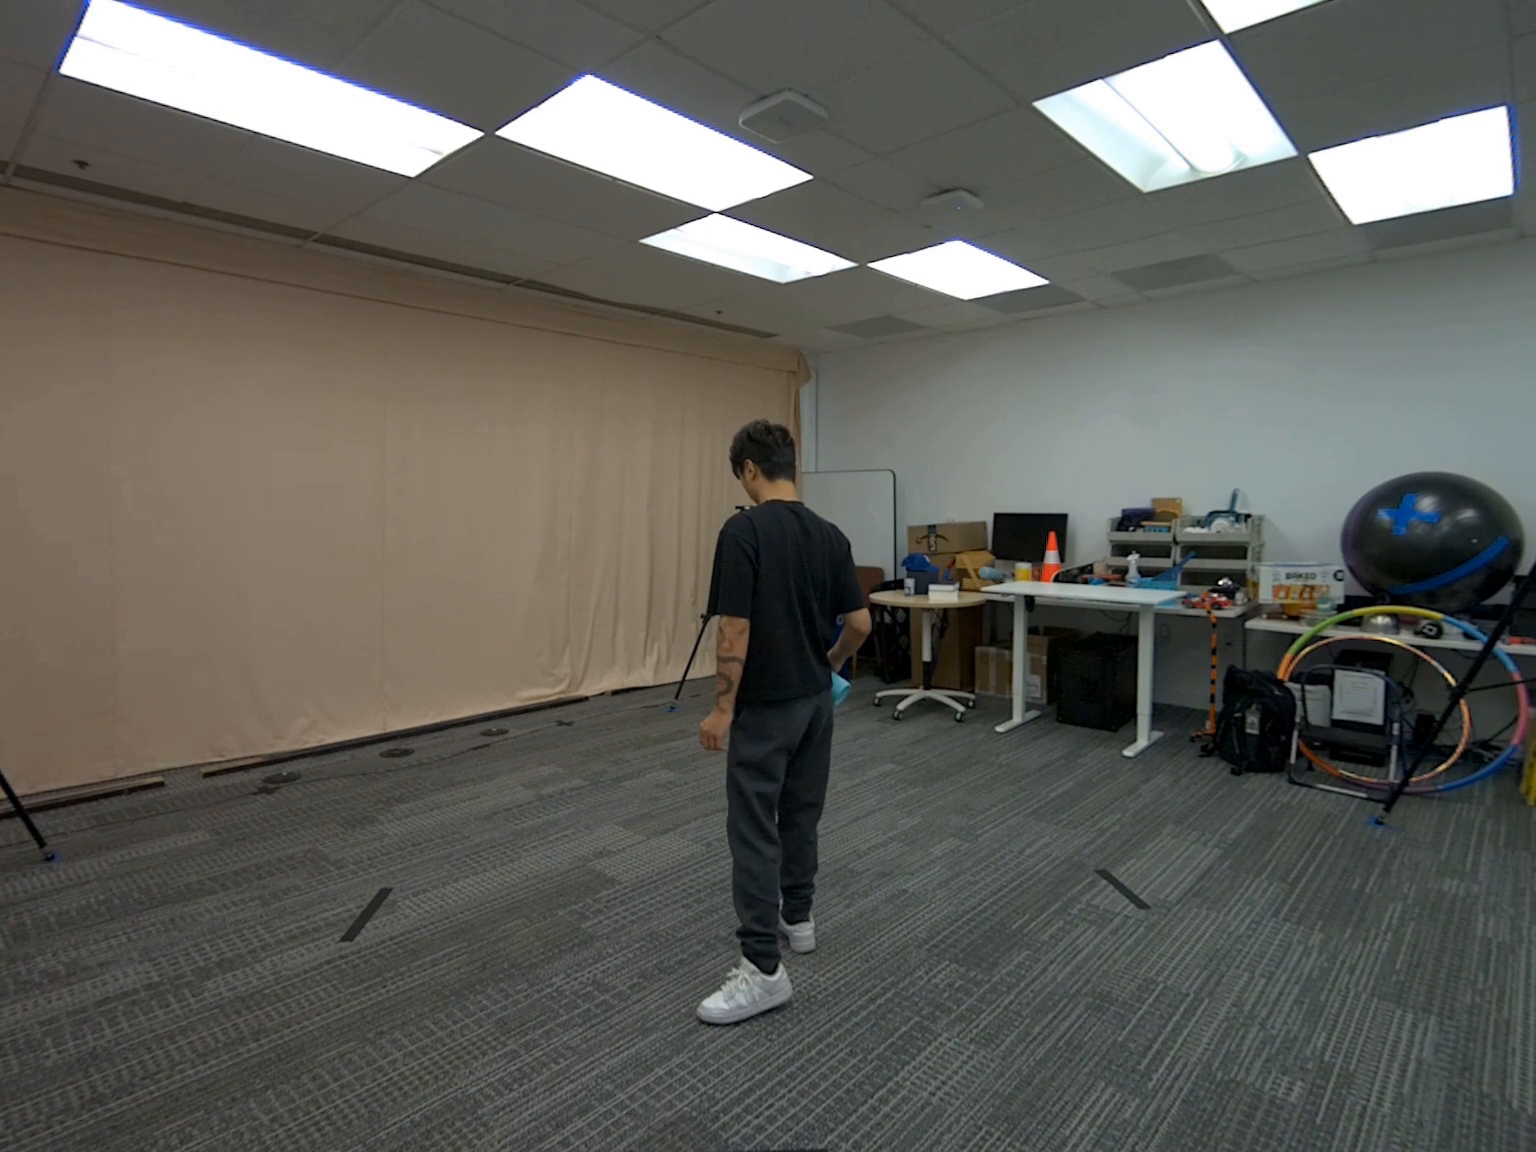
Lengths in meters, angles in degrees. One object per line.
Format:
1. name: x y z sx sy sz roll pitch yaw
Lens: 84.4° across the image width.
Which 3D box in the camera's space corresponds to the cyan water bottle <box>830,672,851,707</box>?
1. cyan water bottle: 0.141 0.311 2.790 0.292 0.092 0.090 37 22 28
